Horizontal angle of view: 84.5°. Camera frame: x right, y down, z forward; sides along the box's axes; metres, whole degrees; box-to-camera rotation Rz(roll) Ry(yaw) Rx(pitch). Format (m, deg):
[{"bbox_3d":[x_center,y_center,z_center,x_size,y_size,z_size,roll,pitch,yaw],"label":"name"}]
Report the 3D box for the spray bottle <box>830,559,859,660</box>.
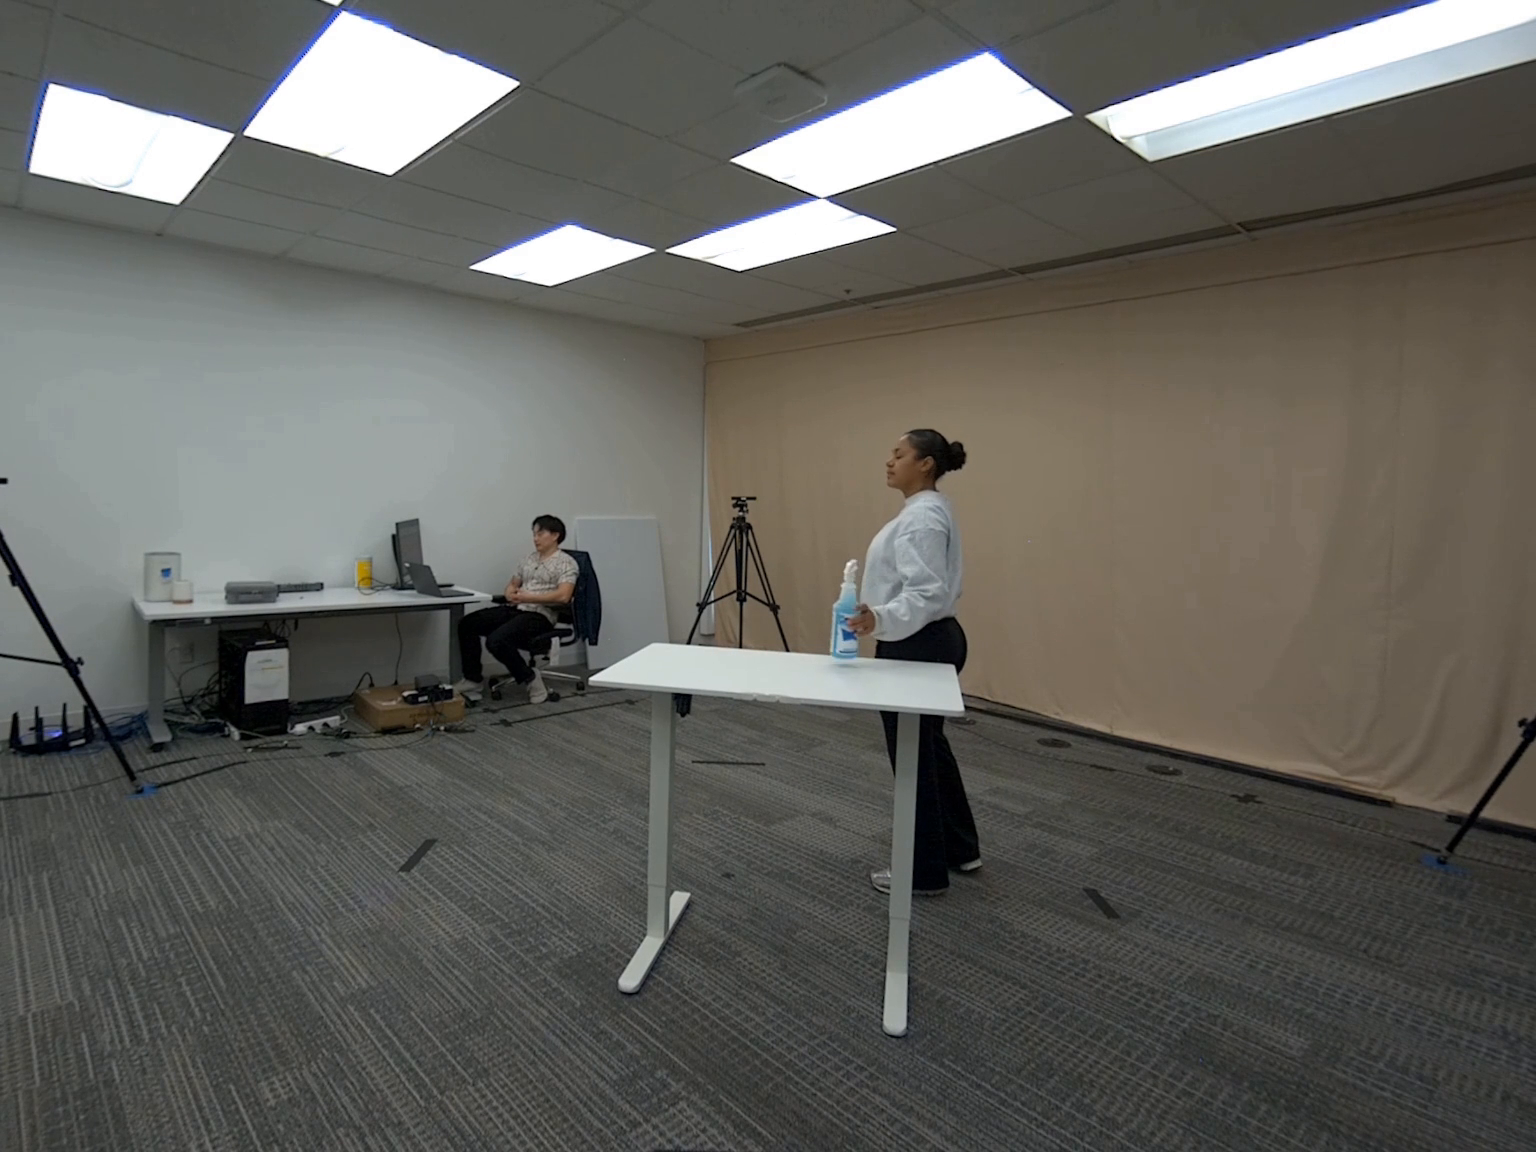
[{"bbox_3d":[0.234,0.103,2.599,0.089,0.295,0.088,11,12,43],"label":"spray bottle"}]
